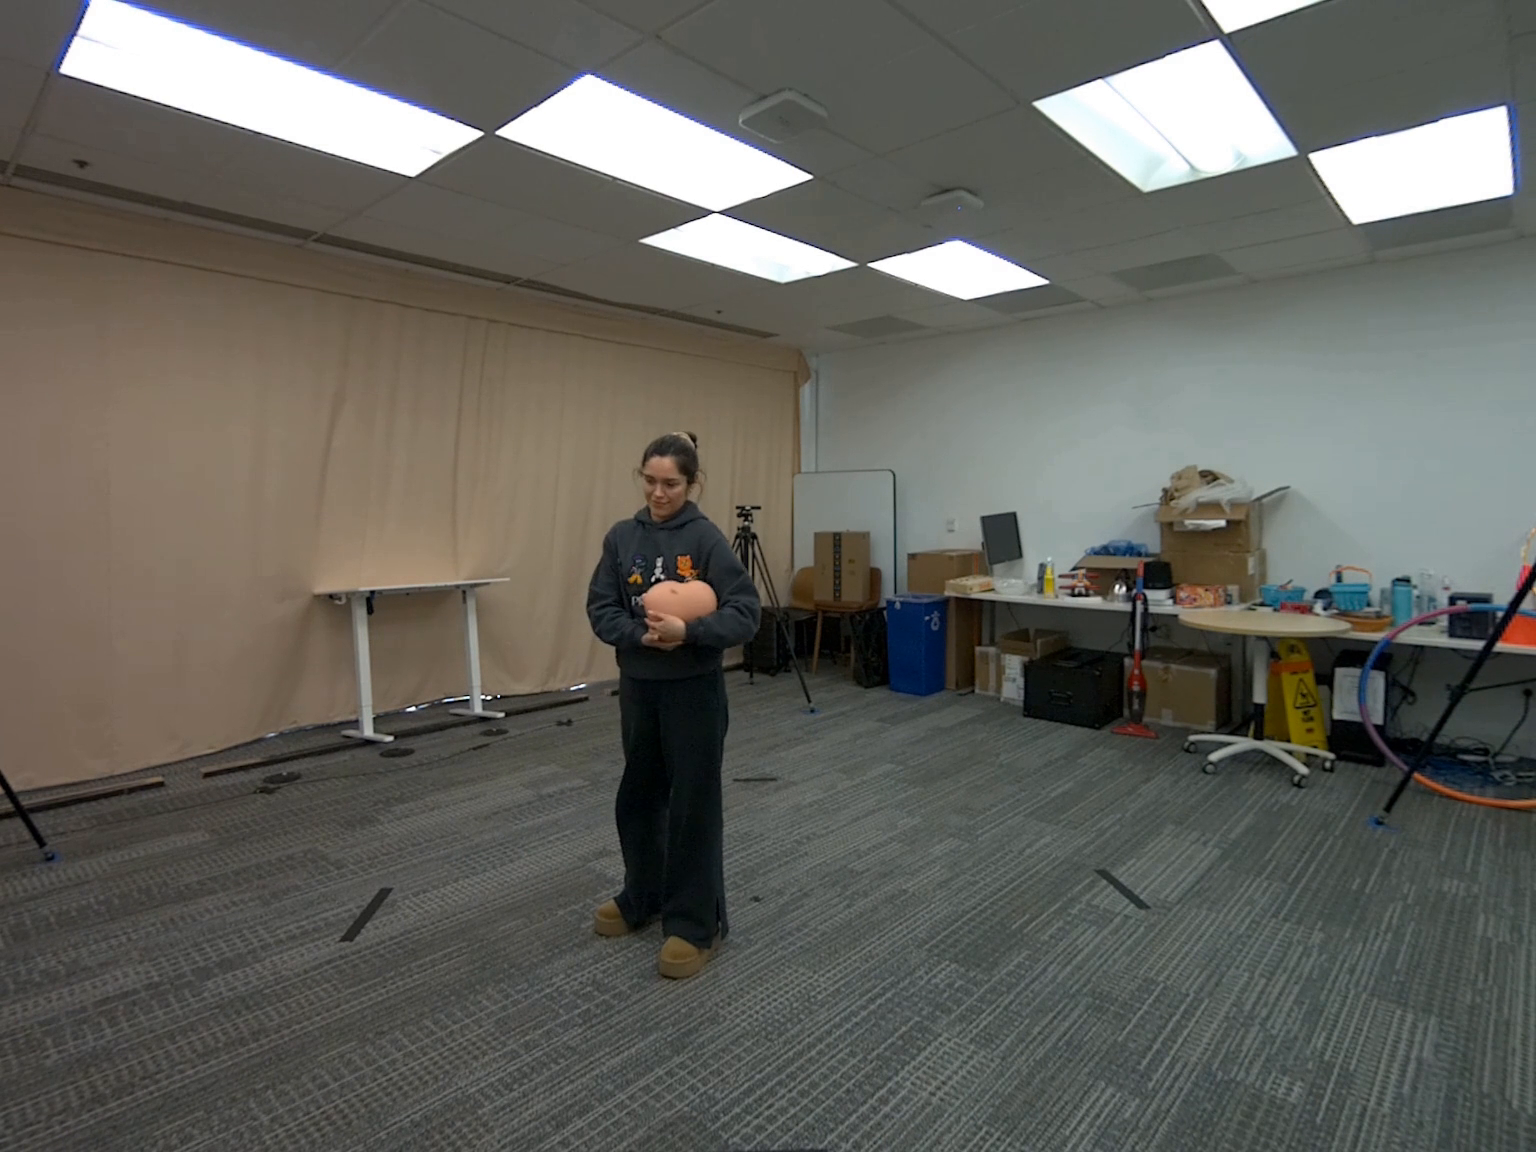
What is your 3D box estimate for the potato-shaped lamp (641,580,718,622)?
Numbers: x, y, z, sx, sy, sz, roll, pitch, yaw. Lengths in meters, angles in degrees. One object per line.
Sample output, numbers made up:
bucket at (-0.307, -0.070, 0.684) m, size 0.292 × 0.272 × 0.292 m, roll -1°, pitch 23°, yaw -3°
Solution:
potato-shaped lamp at (-0.247, 0.087, 2.463) m, size 0.199 × 0.172 × 0.163 m, roll -22°, pitch -2°, yaw 8°
